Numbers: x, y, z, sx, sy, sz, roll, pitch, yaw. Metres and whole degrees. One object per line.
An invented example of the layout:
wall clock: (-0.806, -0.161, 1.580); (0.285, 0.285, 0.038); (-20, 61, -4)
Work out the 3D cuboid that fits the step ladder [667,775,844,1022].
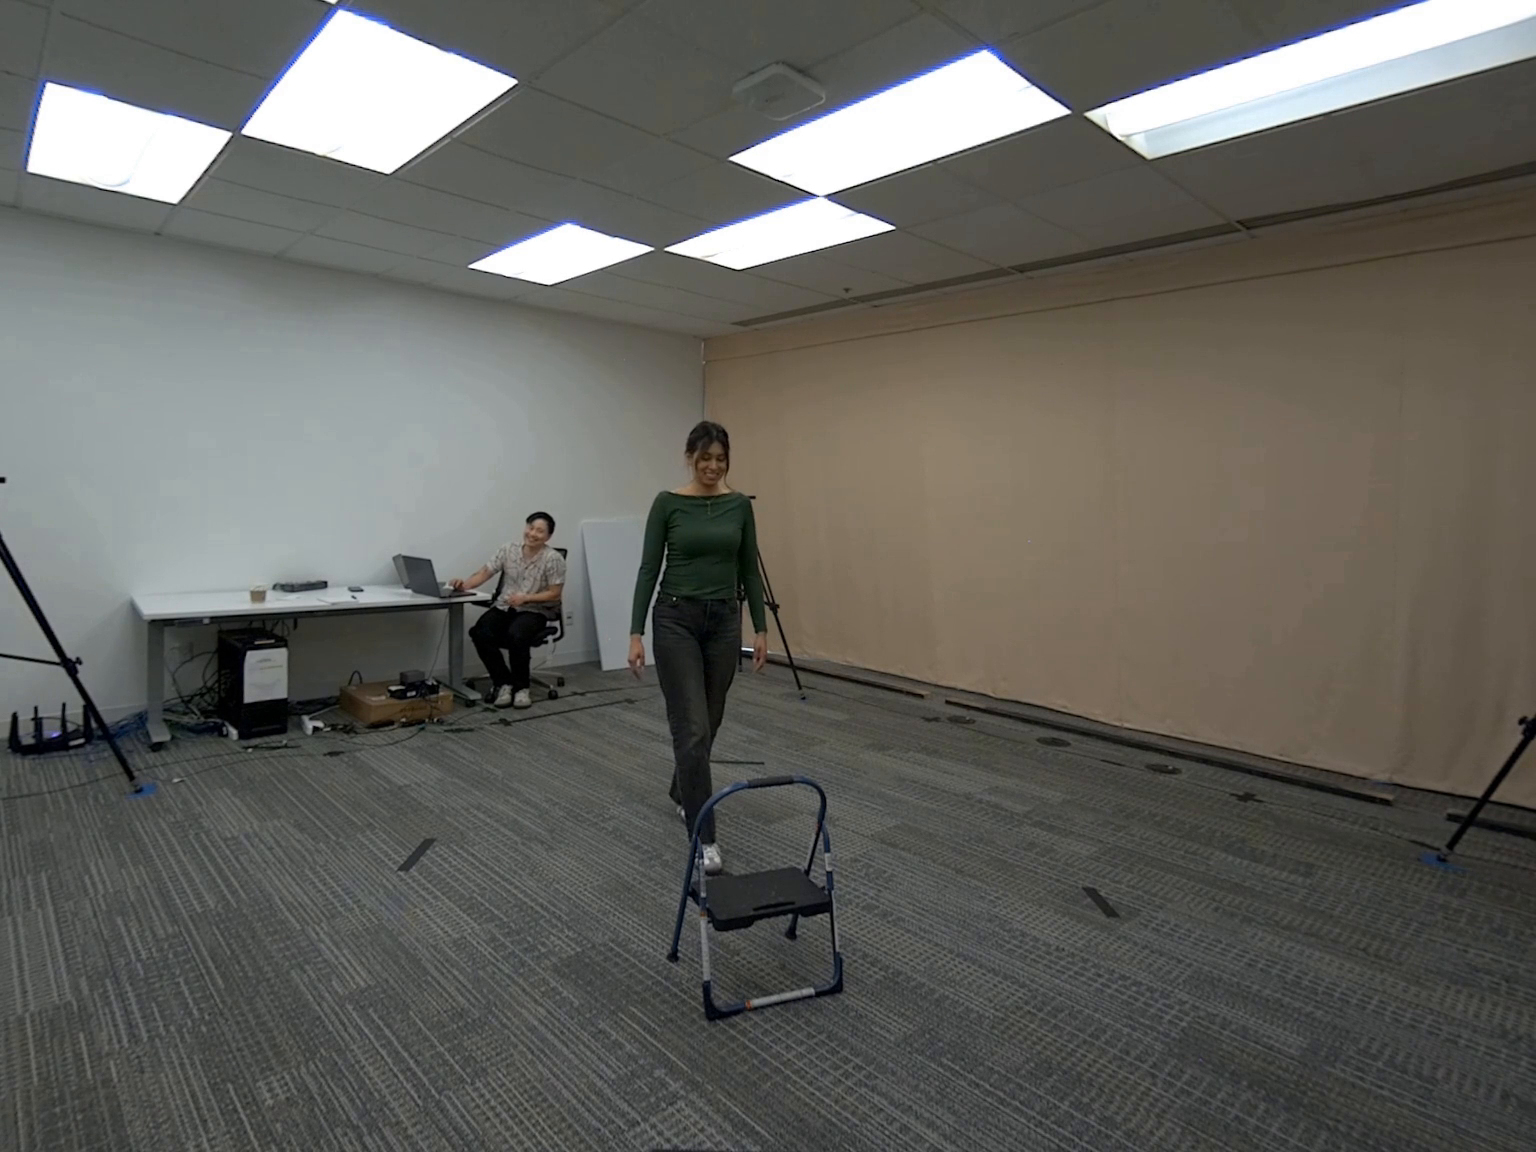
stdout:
step ladder: (-0.036, 0.862, 2.442); (0.423, 0.604, 0.356); (0, 4, -24)
